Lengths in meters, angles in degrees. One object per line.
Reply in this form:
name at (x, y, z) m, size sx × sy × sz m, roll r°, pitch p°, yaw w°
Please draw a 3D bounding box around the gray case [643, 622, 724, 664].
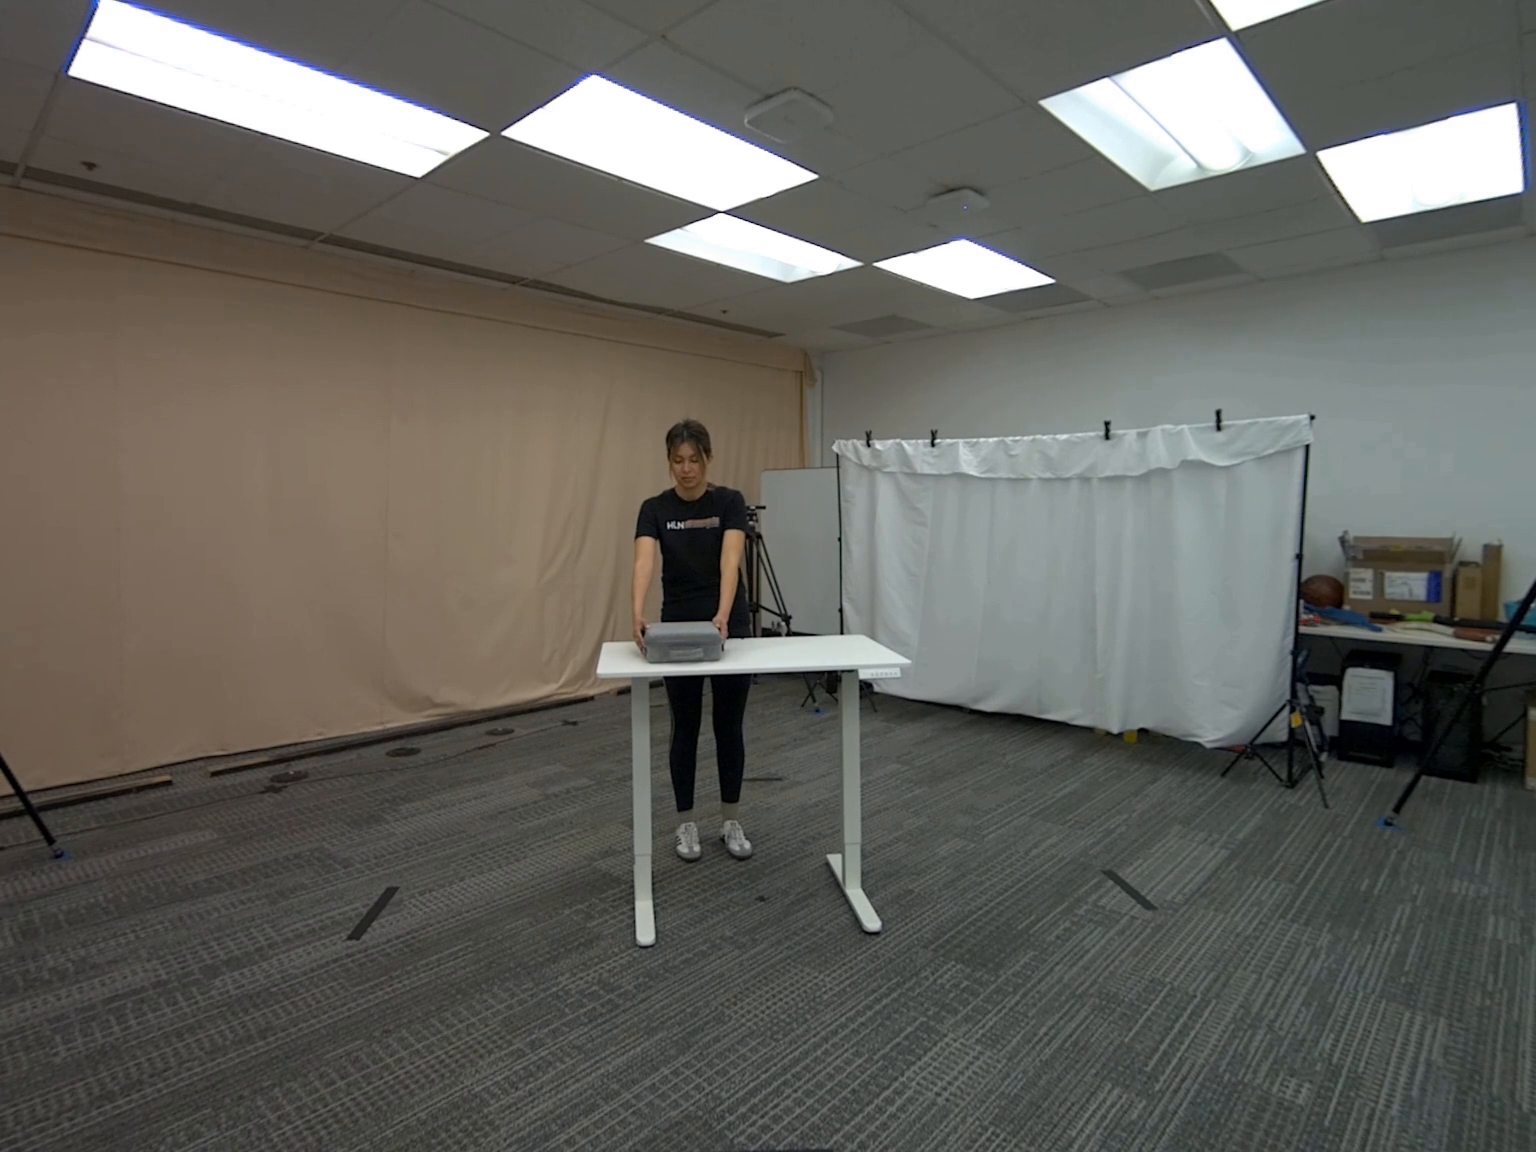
gray case at (-0.290, 0.226, 2.856) m, size 0.255 × 0.104 × 0.263 m, roll -1°, pitch 5°, yaw -7°
